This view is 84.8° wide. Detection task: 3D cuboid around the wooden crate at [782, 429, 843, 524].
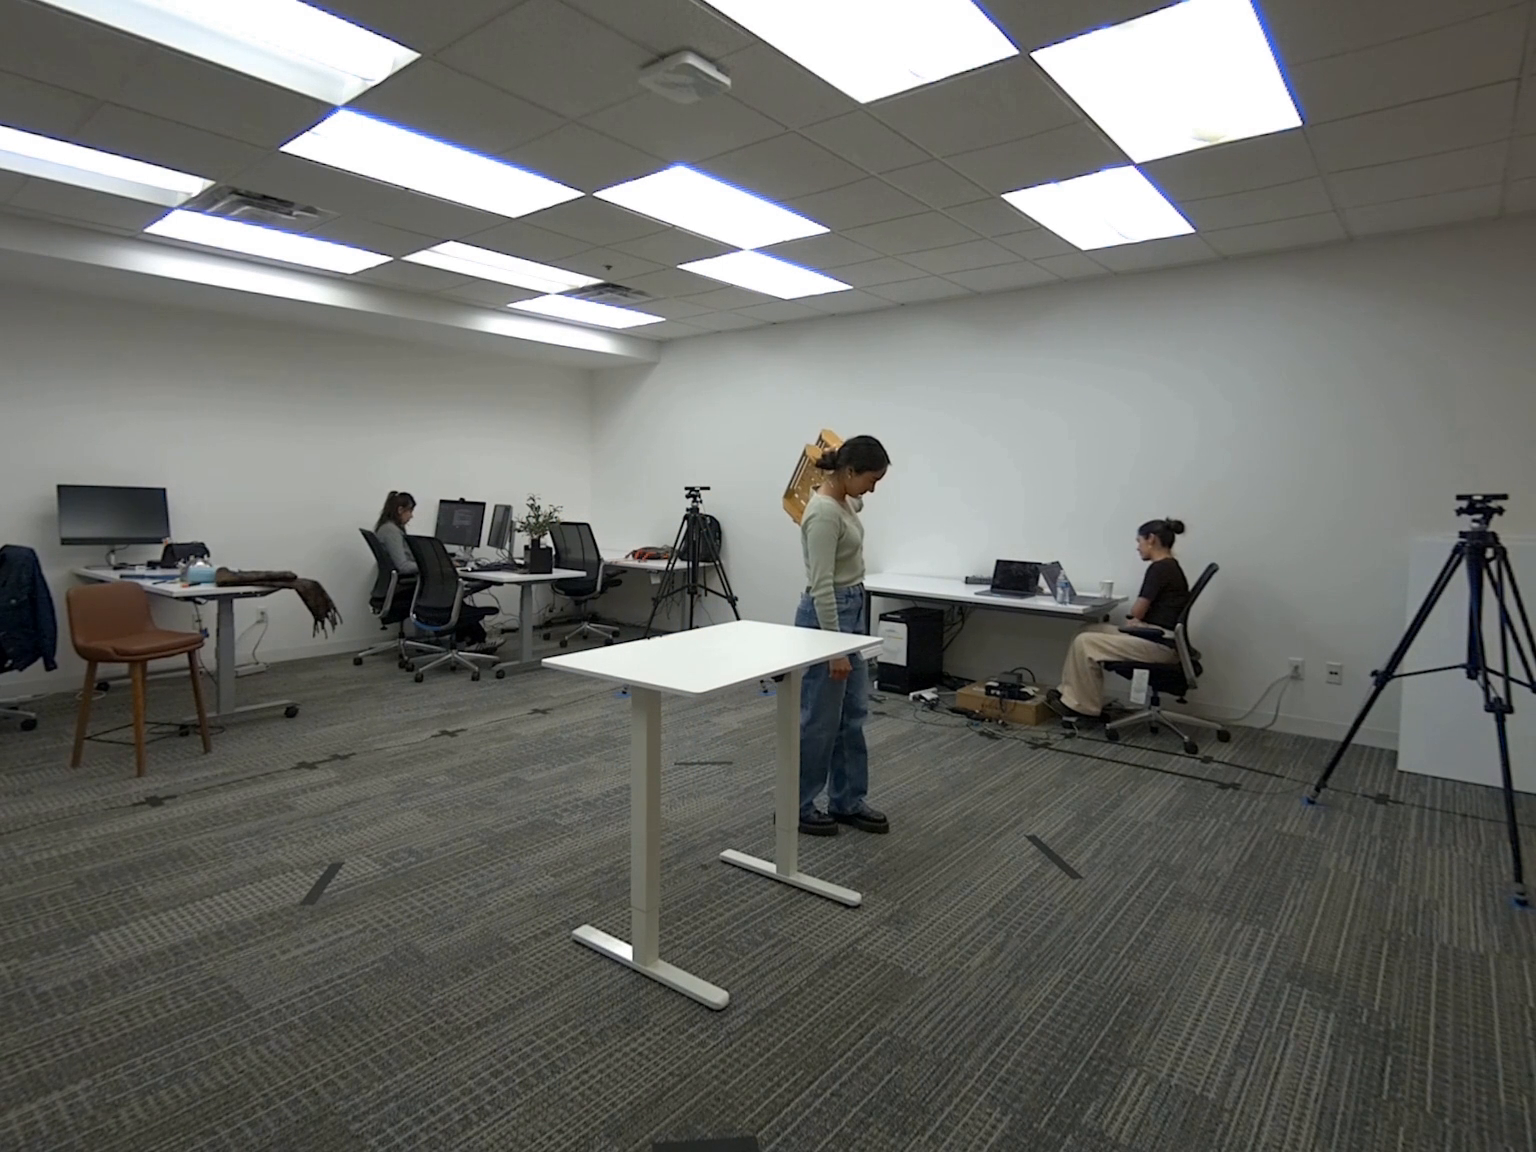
[{"bbox_3d":[0.196,-0.443,3.777,0.267,0.320,0.314,-13,49,-37],"label":"wooden crate"}]
